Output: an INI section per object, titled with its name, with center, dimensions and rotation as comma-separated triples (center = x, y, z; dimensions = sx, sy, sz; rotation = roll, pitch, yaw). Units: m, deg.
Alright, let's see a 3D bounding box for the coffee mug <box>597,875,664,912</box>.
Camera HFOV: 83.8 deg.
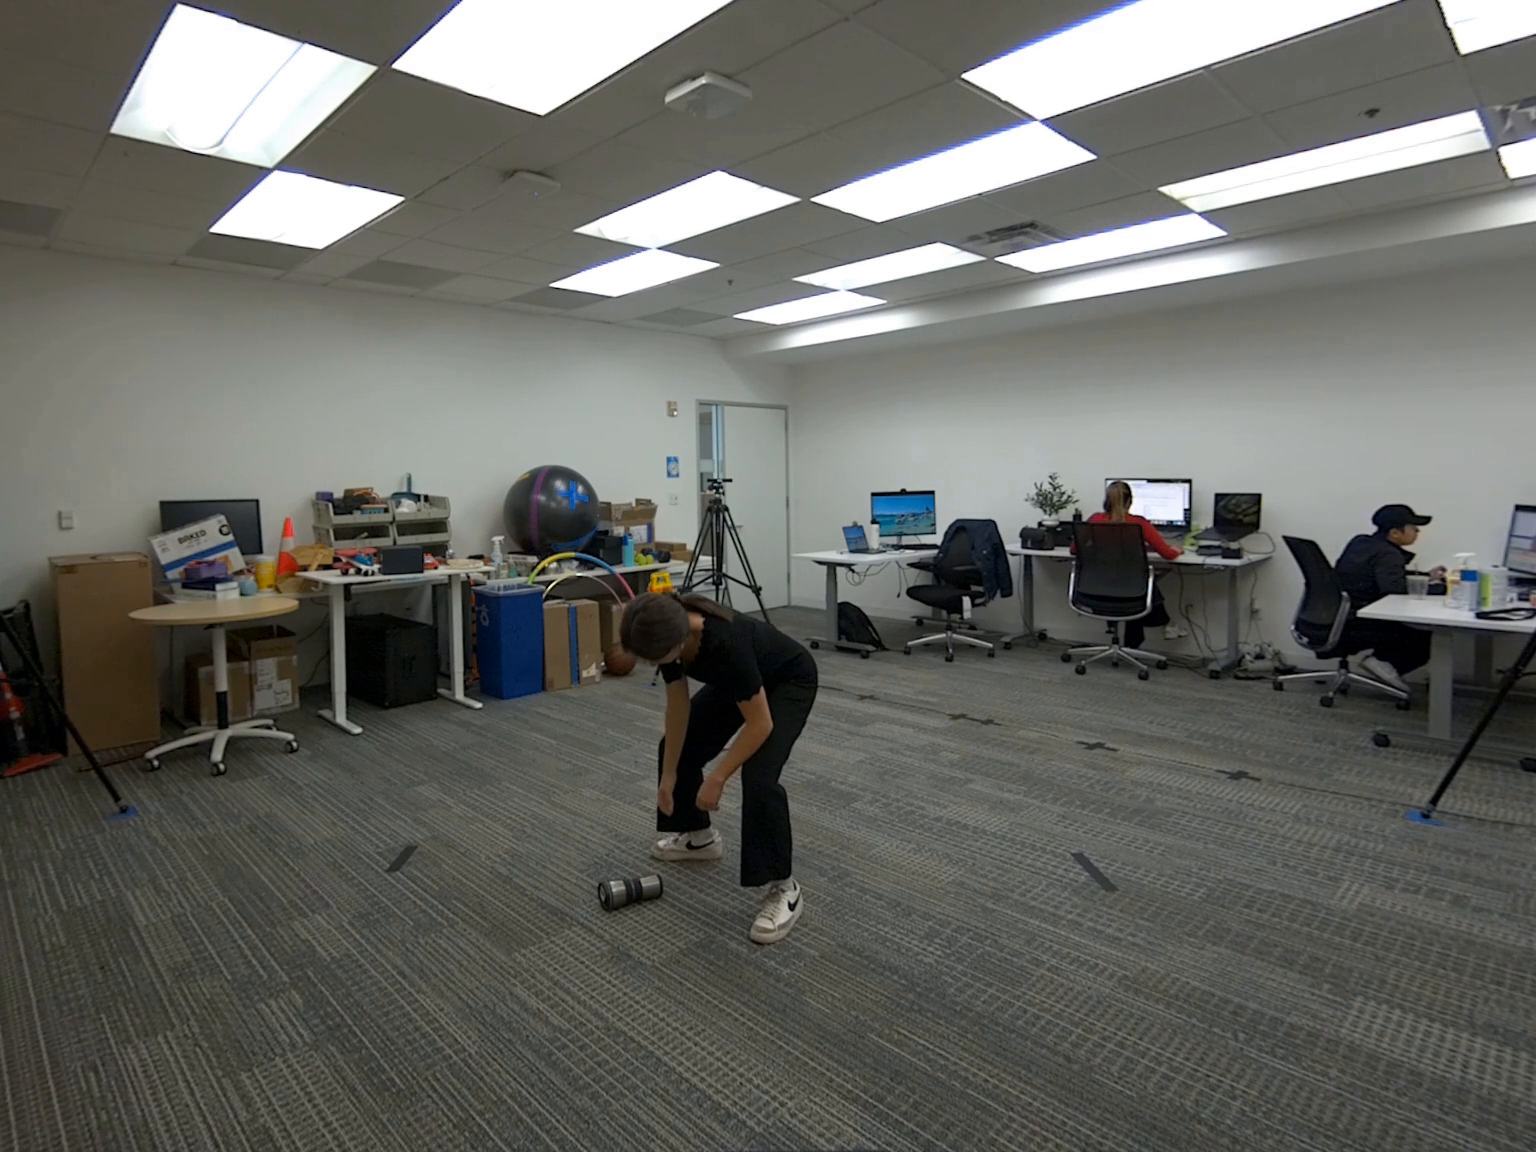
[coffee mug]
center = -0.459, 1.036, 2.849
dimensions = 0.198, 0.087, 0.126
rotation = -4, 17, -29
